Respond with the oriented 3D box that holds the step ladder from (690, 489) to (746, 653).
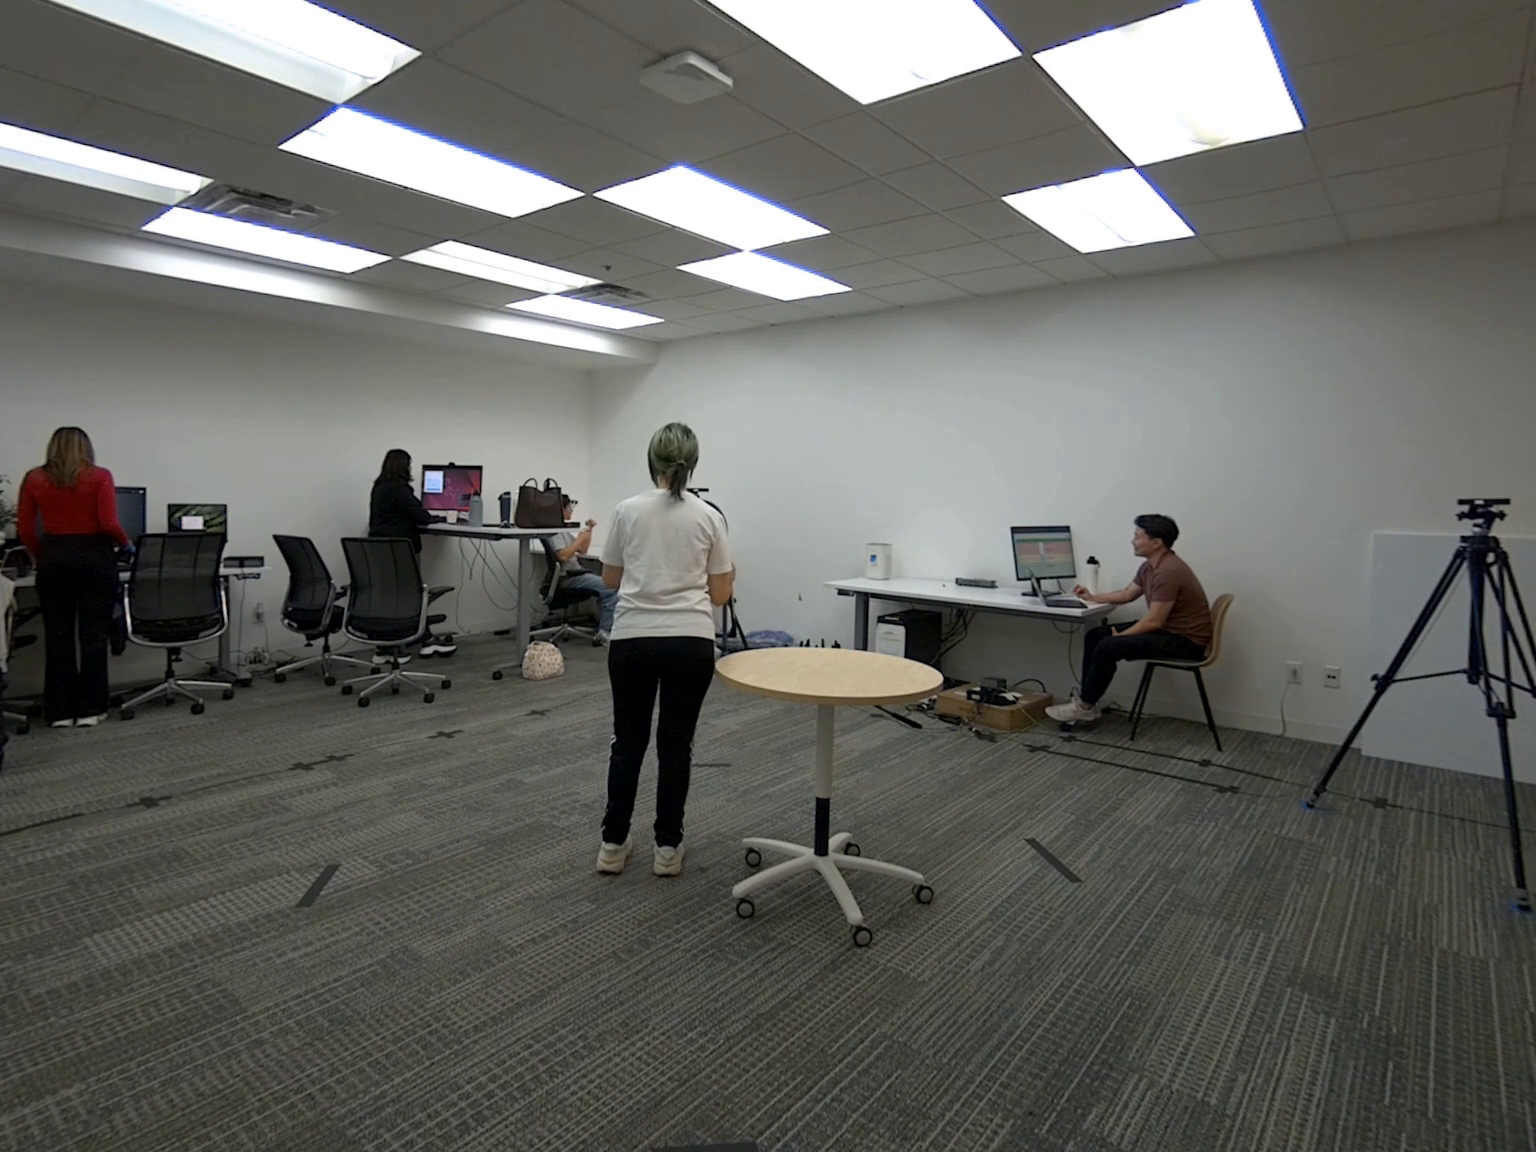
[{"bbox_3d":[-0.372,-0.006,3.484,0.434,0.603,0.349,-2,6,7],"label":"step ladder"}]
